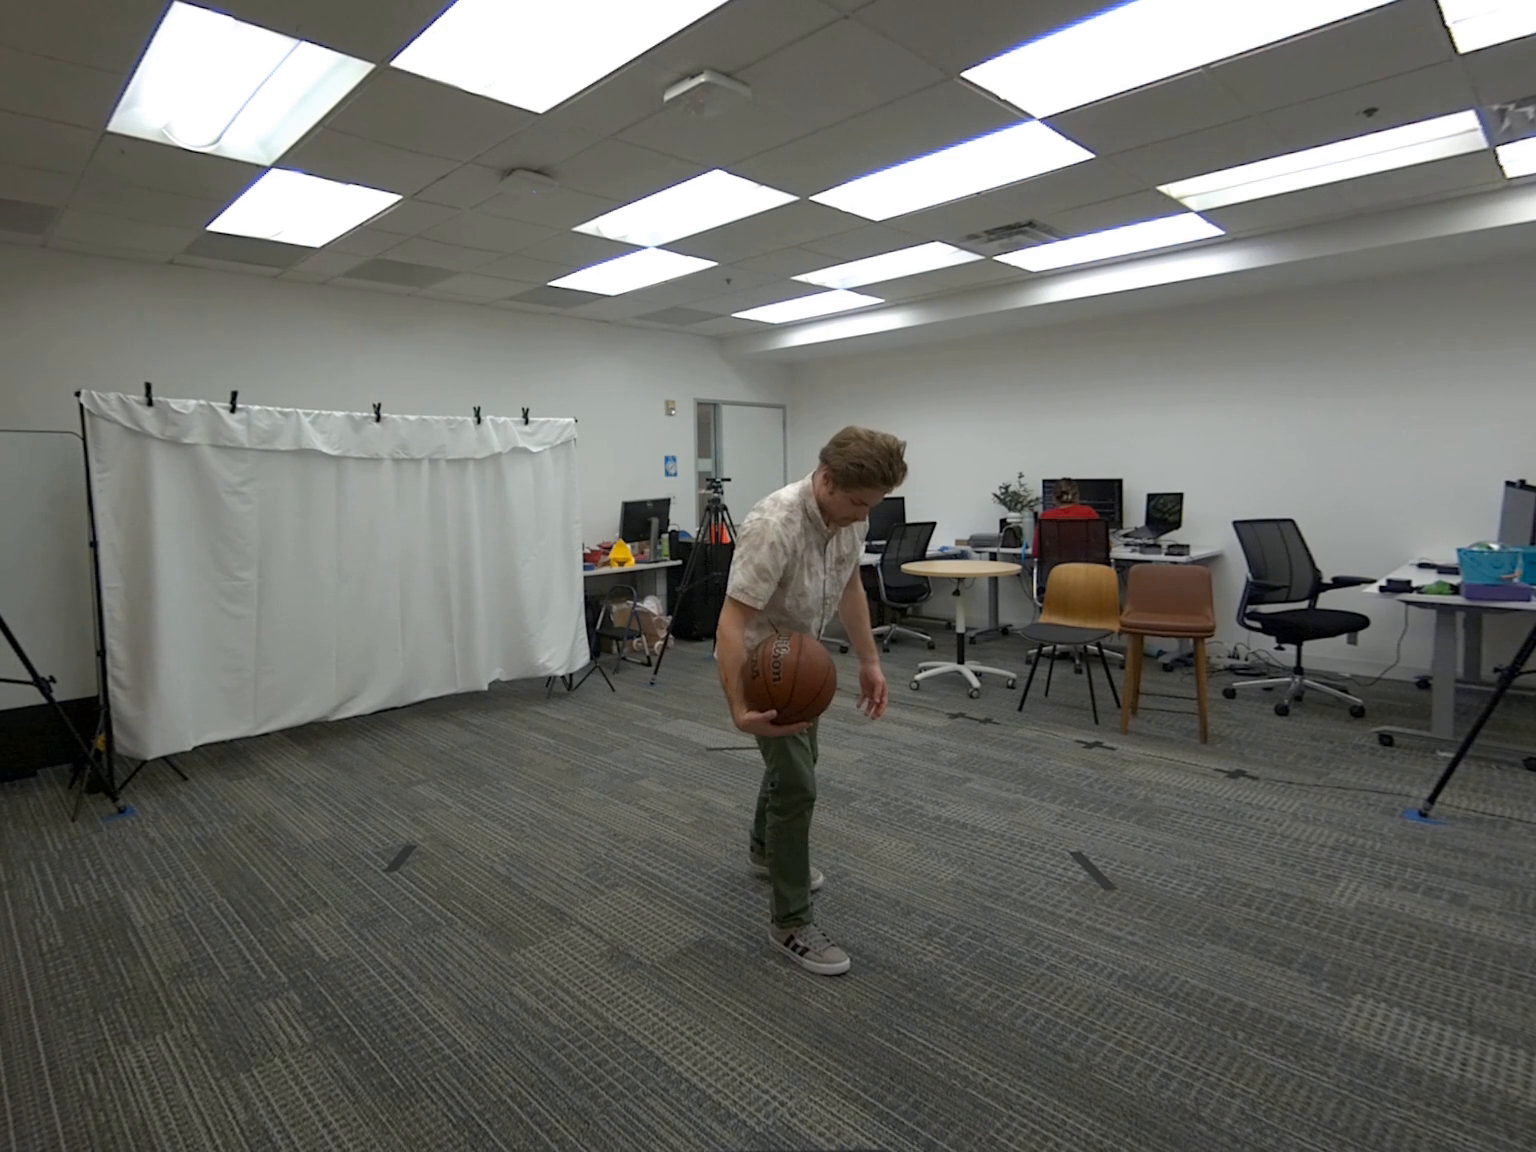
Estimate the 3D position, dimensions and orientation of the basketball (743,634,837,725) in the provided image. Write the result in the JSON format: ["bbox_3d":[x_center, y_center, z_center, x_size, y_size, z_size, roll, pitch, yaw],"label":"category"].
[{"bbox_3d":[0.054,0.265,2.207,0.236,0.235,0.237,-1,5,-2],"label":"basketball"}]
